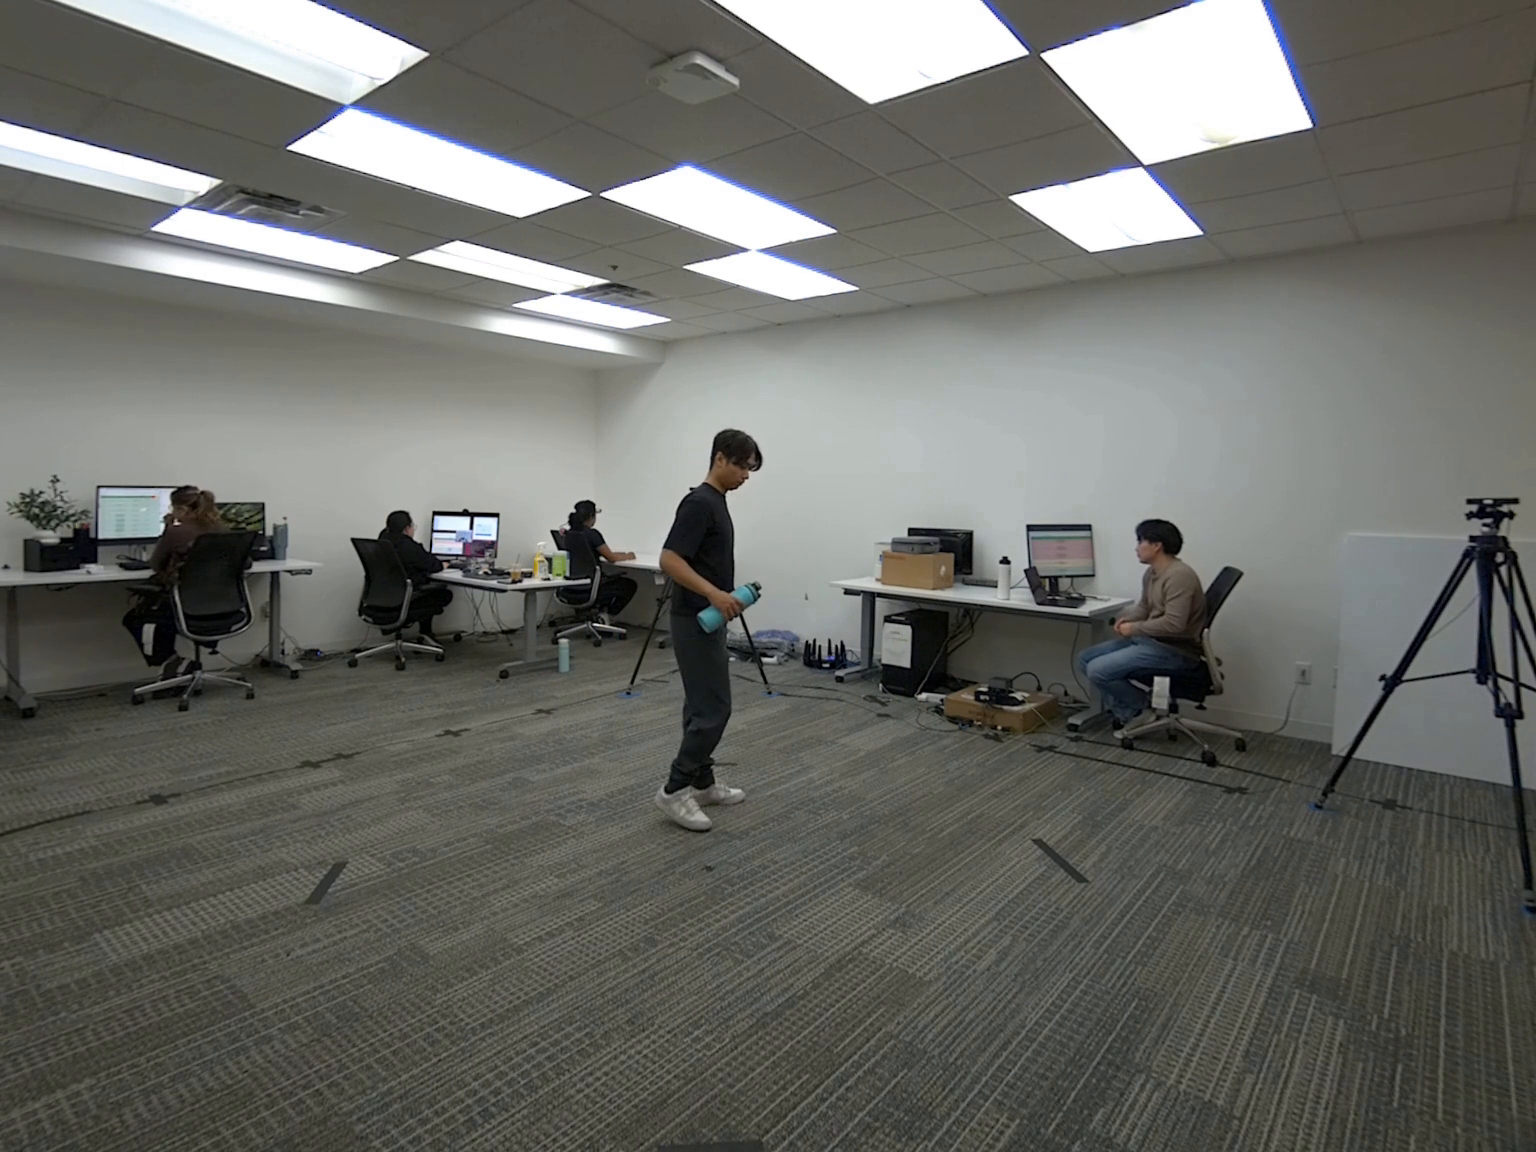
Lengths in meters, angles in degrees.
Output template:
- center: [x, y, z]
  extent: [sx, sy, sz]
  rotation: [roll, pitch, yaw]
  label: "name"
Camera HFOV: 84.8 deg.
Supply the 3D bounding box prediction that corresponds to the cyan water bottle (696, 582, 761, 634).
- center: [-0.164, 0.119, 3.443]
  extent: [0.281, 0.091, 0.095]
  rotation: [-32, 16, -17]
  label: "cyan water bottle"
